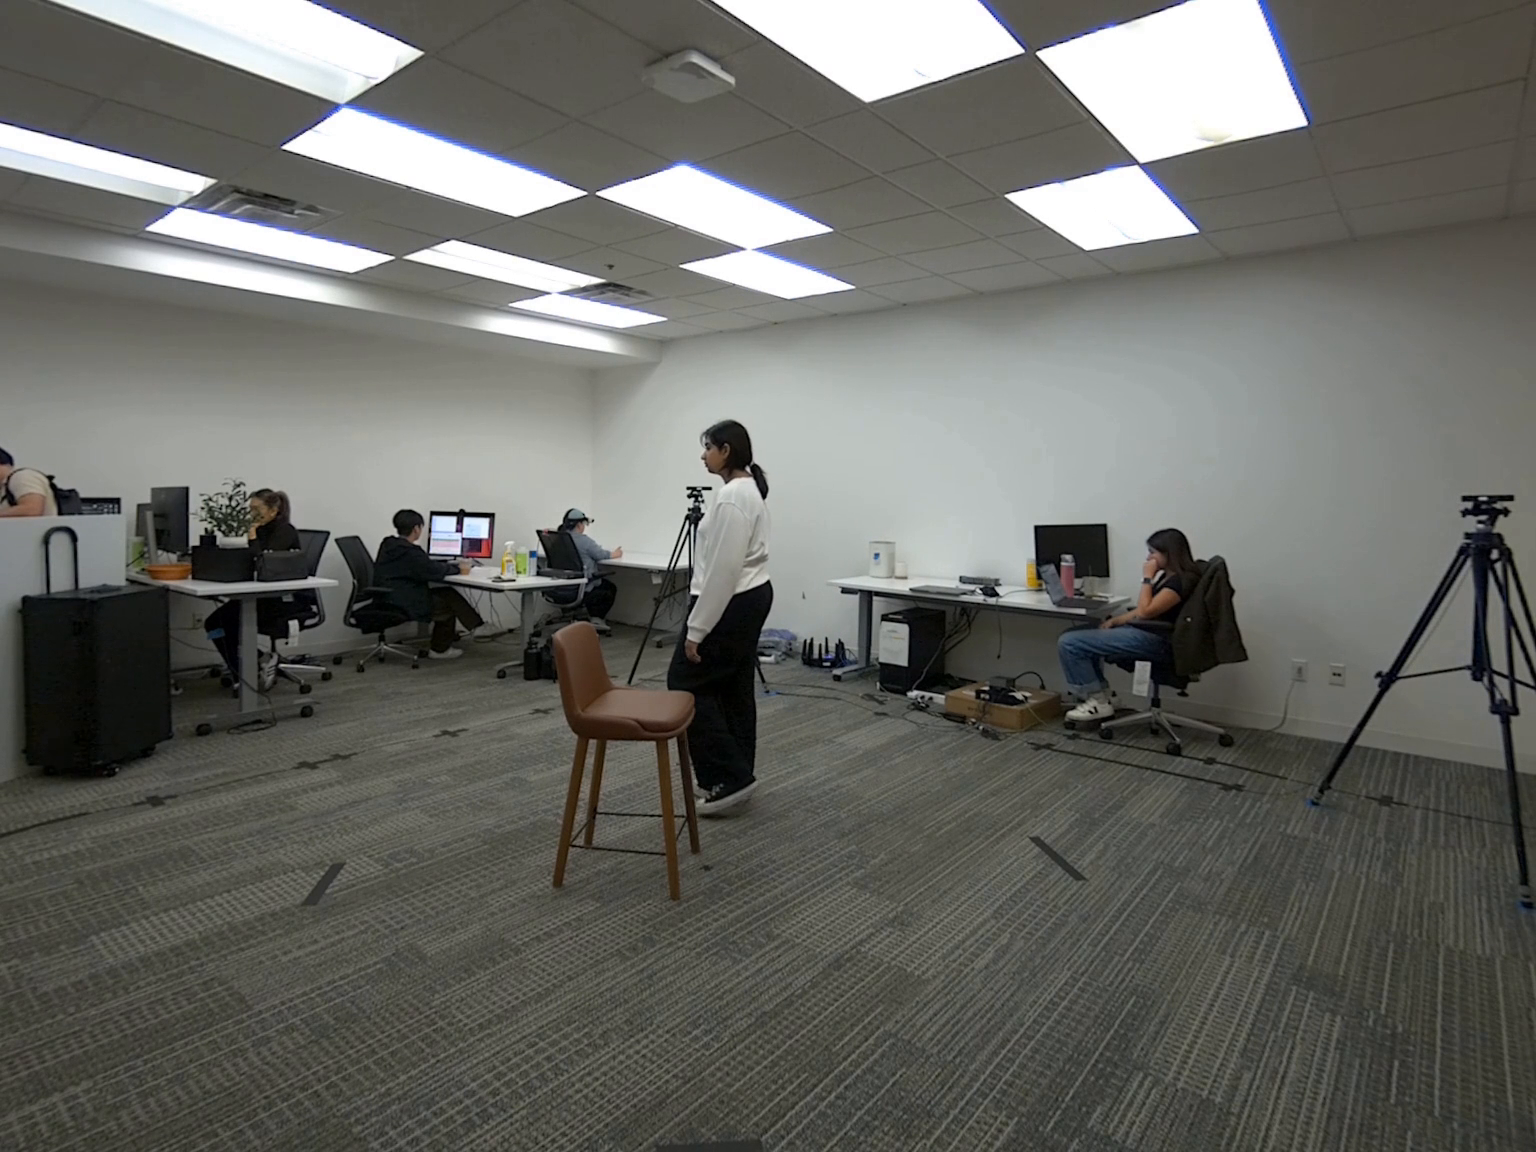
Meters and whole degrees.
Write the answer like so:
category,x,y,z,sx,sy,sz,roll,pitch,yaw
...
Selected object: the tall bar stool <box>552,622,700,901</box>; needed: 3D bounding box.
category,x,y,z,sx,sy,sz,roll,pitch,yaw
tall bar stool,-0.506,0.630,3.069,0.472,0.888,0.453,0,3,9
